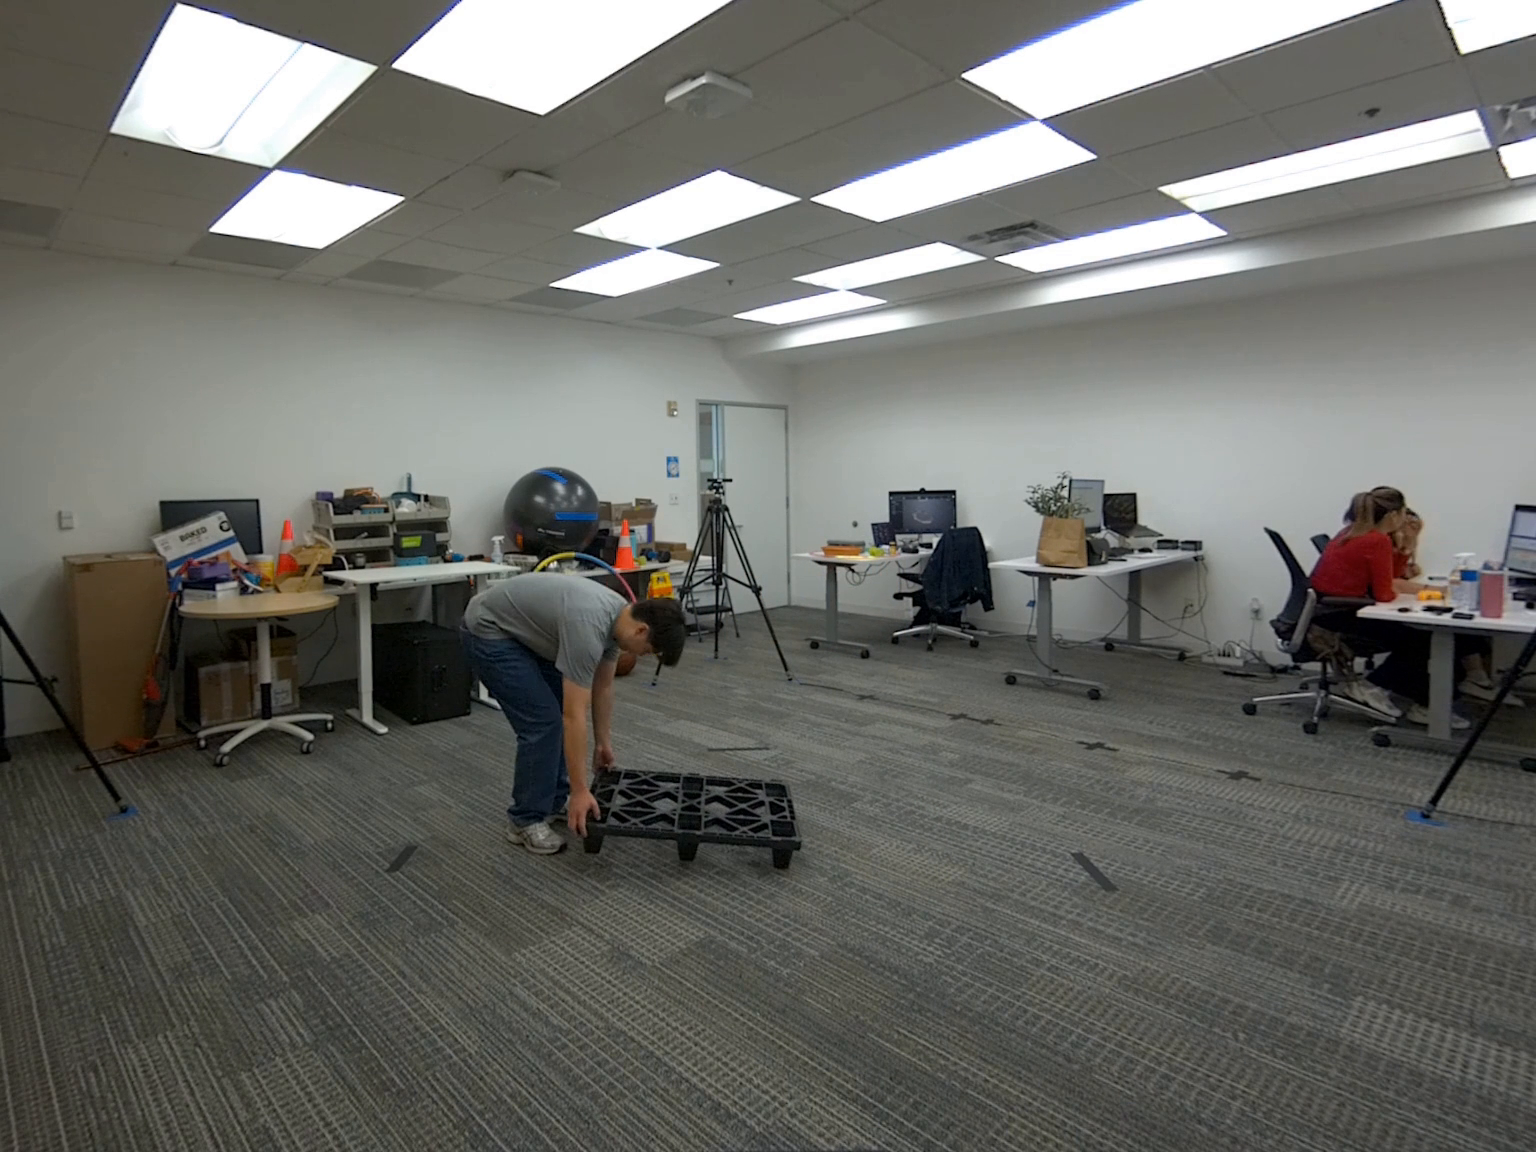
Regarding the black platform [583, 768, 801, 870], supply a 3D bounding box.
[{"bbox_3d":[-0.300,0.932,3.279,0.805,0.143,0.608,6,6,-1],"label":"black platform"}]
